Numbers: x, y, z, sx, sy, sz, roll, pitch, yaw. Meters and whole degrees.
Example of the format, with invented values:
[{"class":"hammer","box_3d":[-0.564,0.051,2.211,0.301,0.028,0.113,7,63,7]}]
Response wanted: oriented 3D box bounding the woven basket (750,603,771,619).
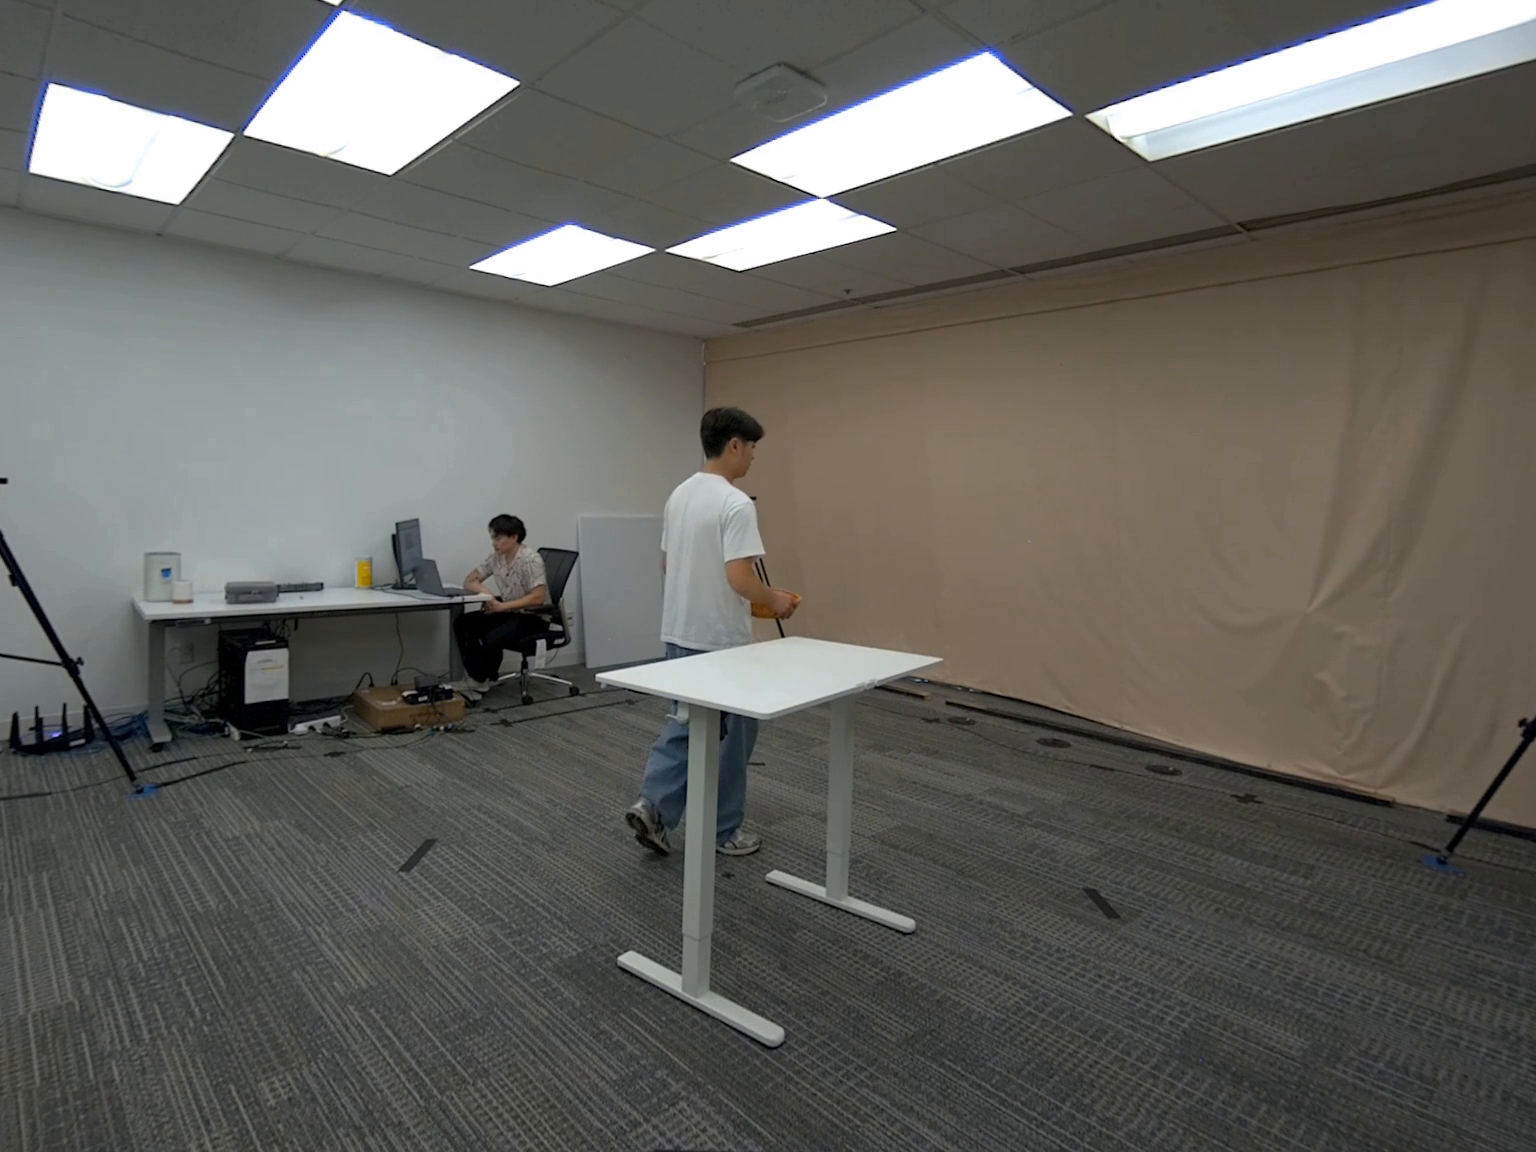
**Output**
[{"class":"woven basket","box_3d":[-0.055,0.114,3.399,0.247,0.073,0.359,-4,9,-33]}]
